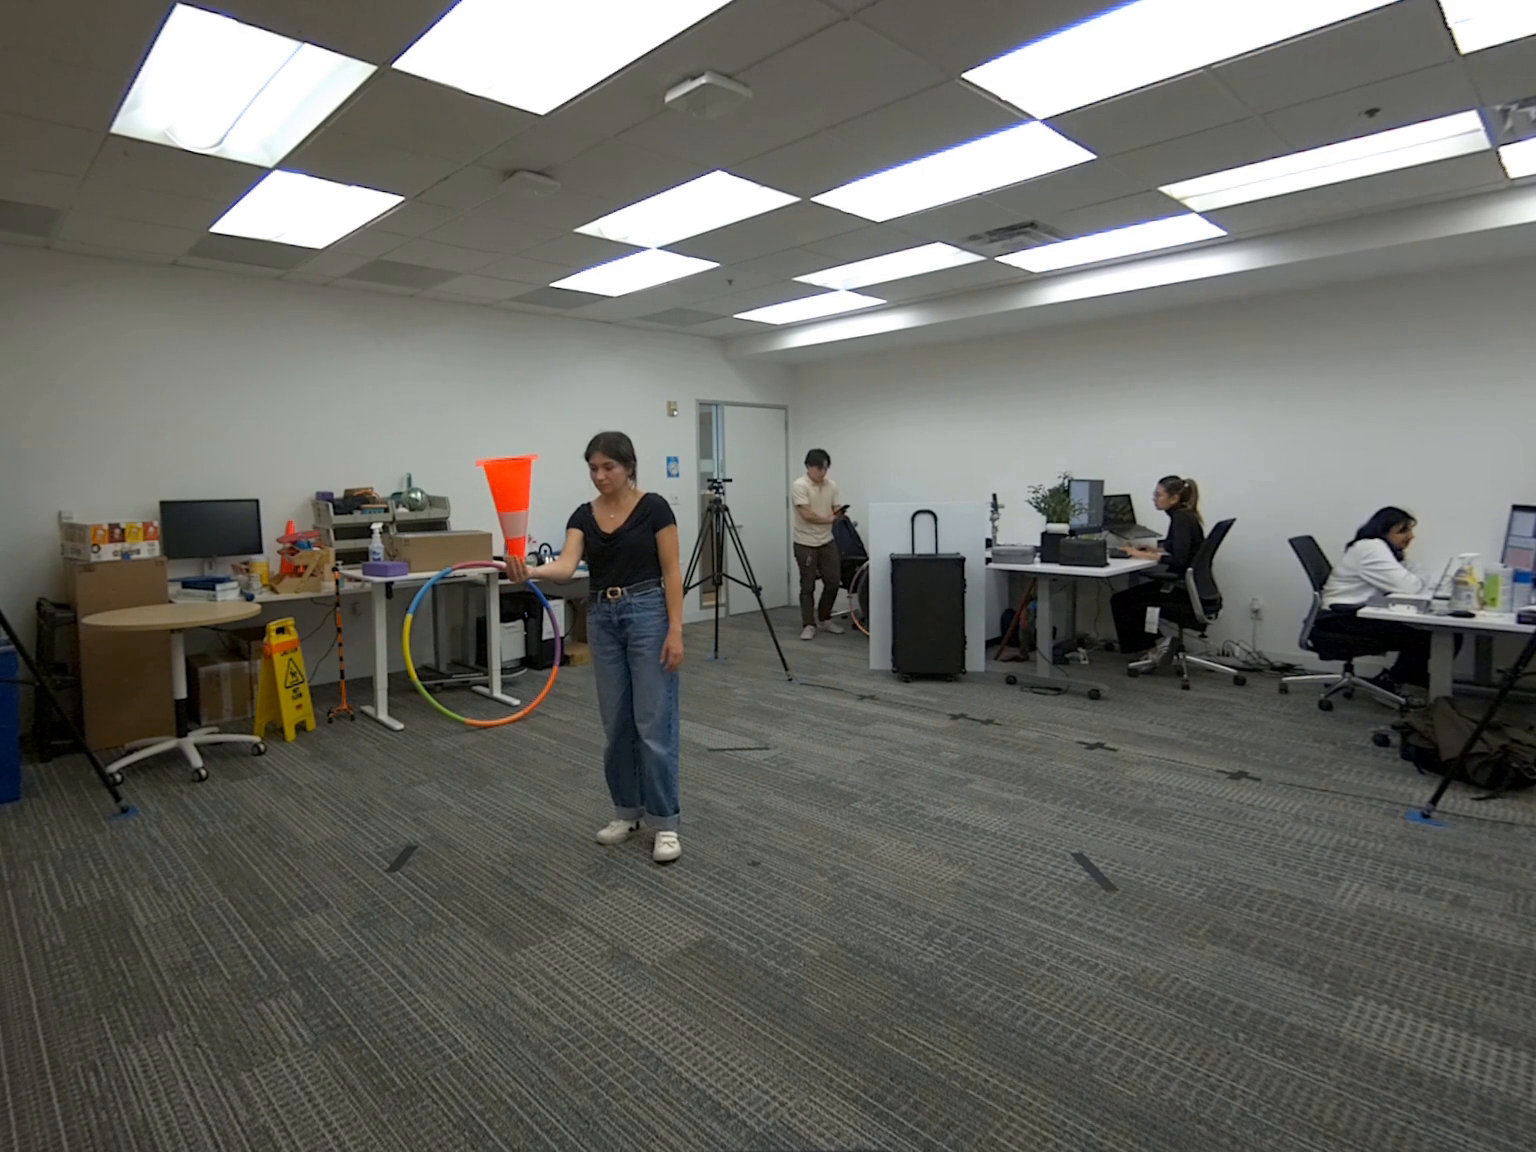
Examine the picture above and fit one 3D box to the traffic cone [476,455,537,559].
[{"bbox_3d":[-0.846,-0.193,2.836,0.204,0.379,0.207,-5,13,-7],"label":"traffic cone"}]
